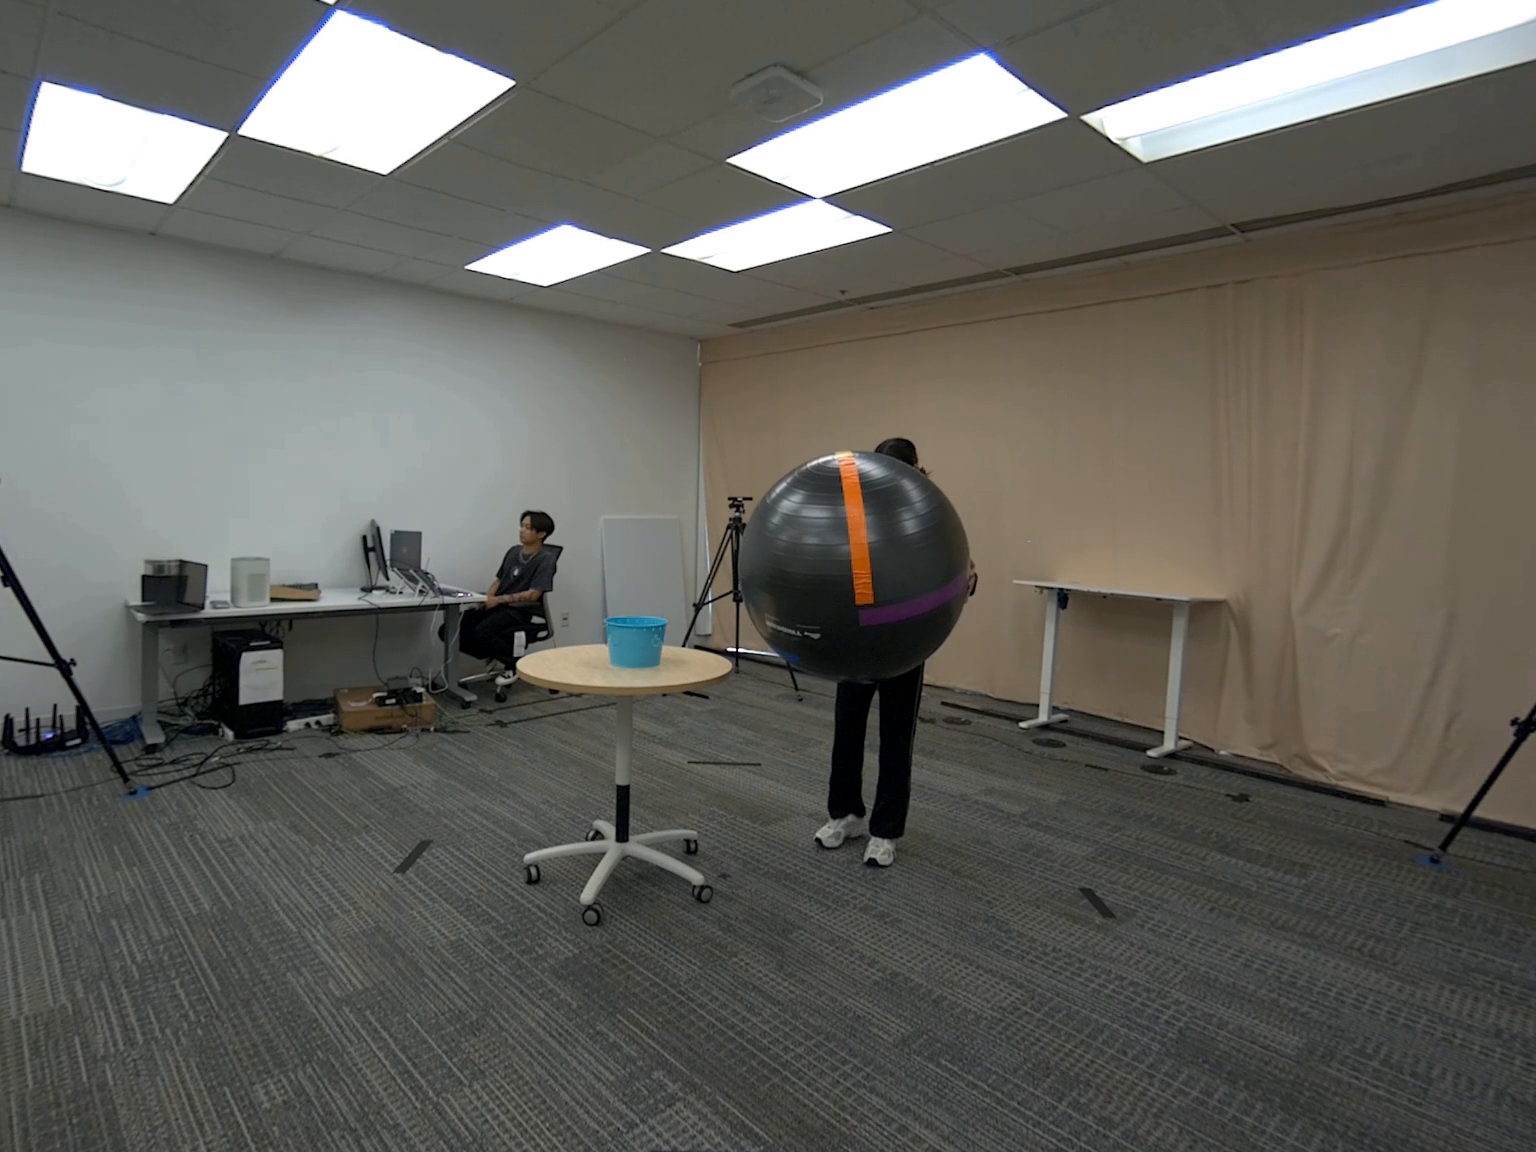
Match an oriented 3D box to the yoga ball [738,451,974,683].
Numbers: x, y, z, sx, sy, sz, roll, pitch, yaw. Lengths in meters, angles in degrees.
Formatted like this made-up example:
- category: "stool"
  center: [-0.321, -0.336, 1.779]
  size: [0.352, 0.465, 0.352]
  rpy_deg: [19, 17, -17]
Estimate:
- category: "yoga ball"
  center: [0.286, -0.022, 2.764]
  size: [0.757, 0.756, 0.761]
  rpy_deg: [1, 4, -1]
